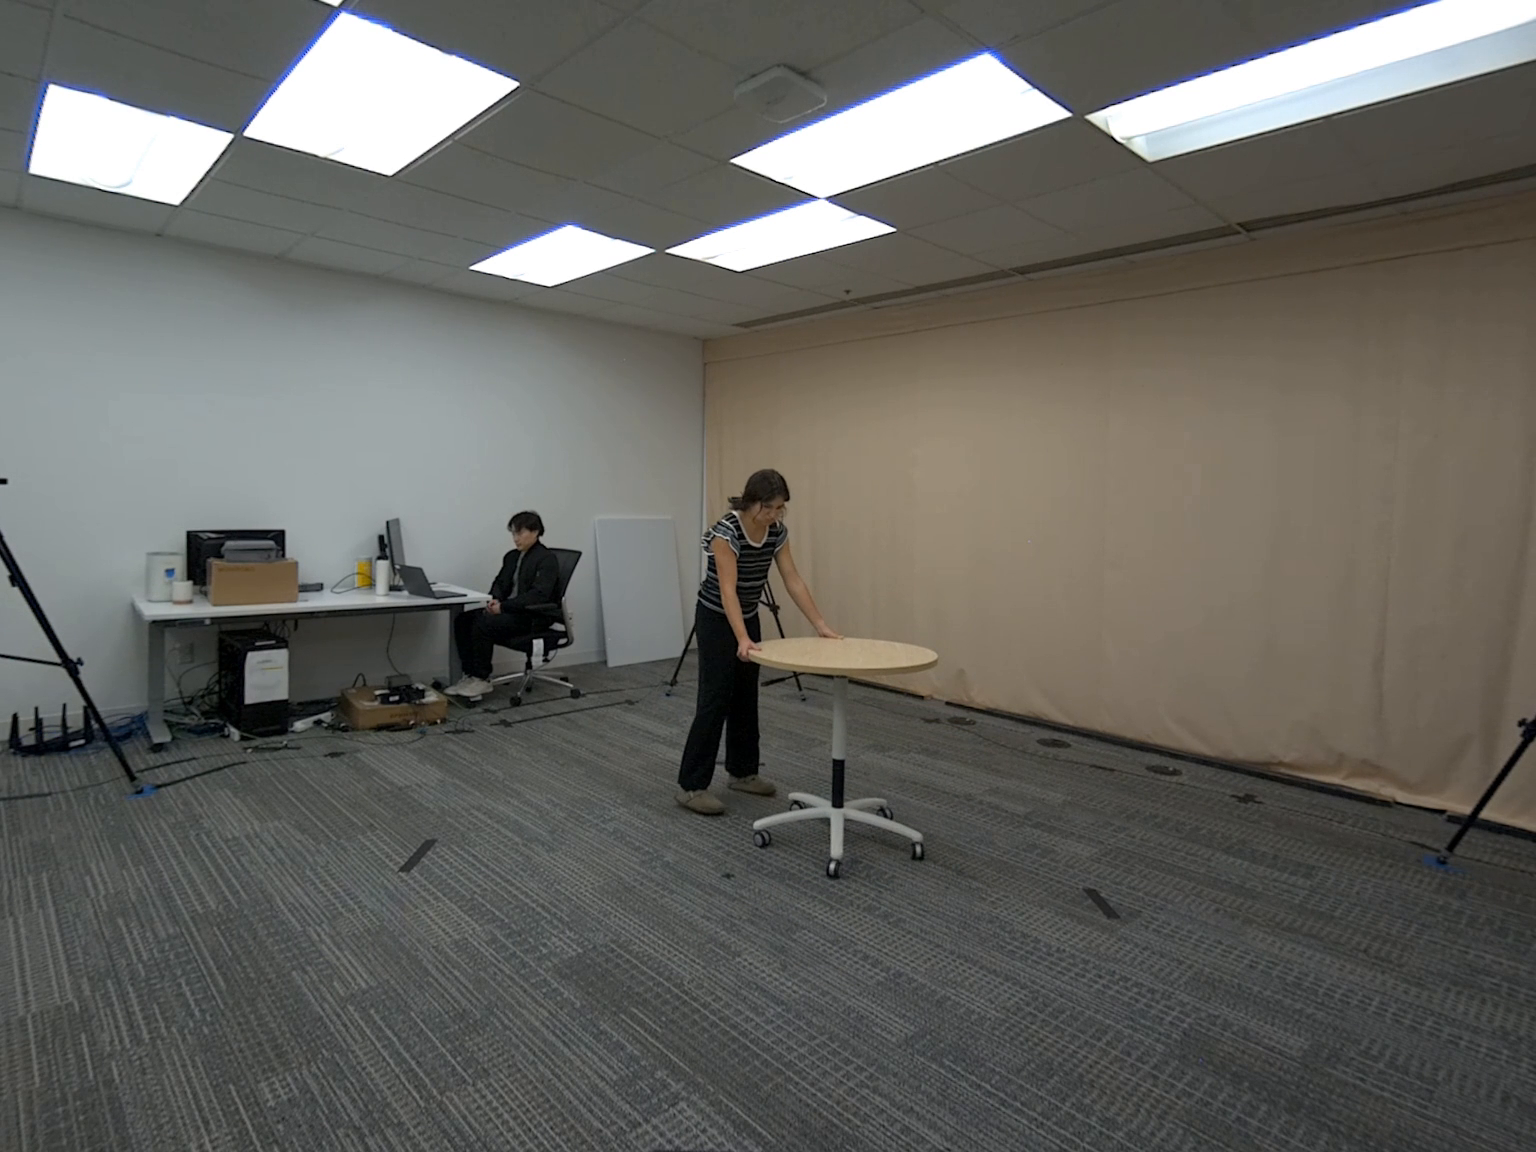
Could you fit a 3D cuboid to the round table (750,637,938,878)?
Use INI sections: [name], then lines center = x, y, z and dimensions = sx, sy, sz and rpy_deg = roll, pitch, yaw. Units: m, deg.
[round table]
center = 0.286, 0.700, 3.433
dimensions = 0.763, 0.792, 0.766
rpy_deg = 1, 3, -1
